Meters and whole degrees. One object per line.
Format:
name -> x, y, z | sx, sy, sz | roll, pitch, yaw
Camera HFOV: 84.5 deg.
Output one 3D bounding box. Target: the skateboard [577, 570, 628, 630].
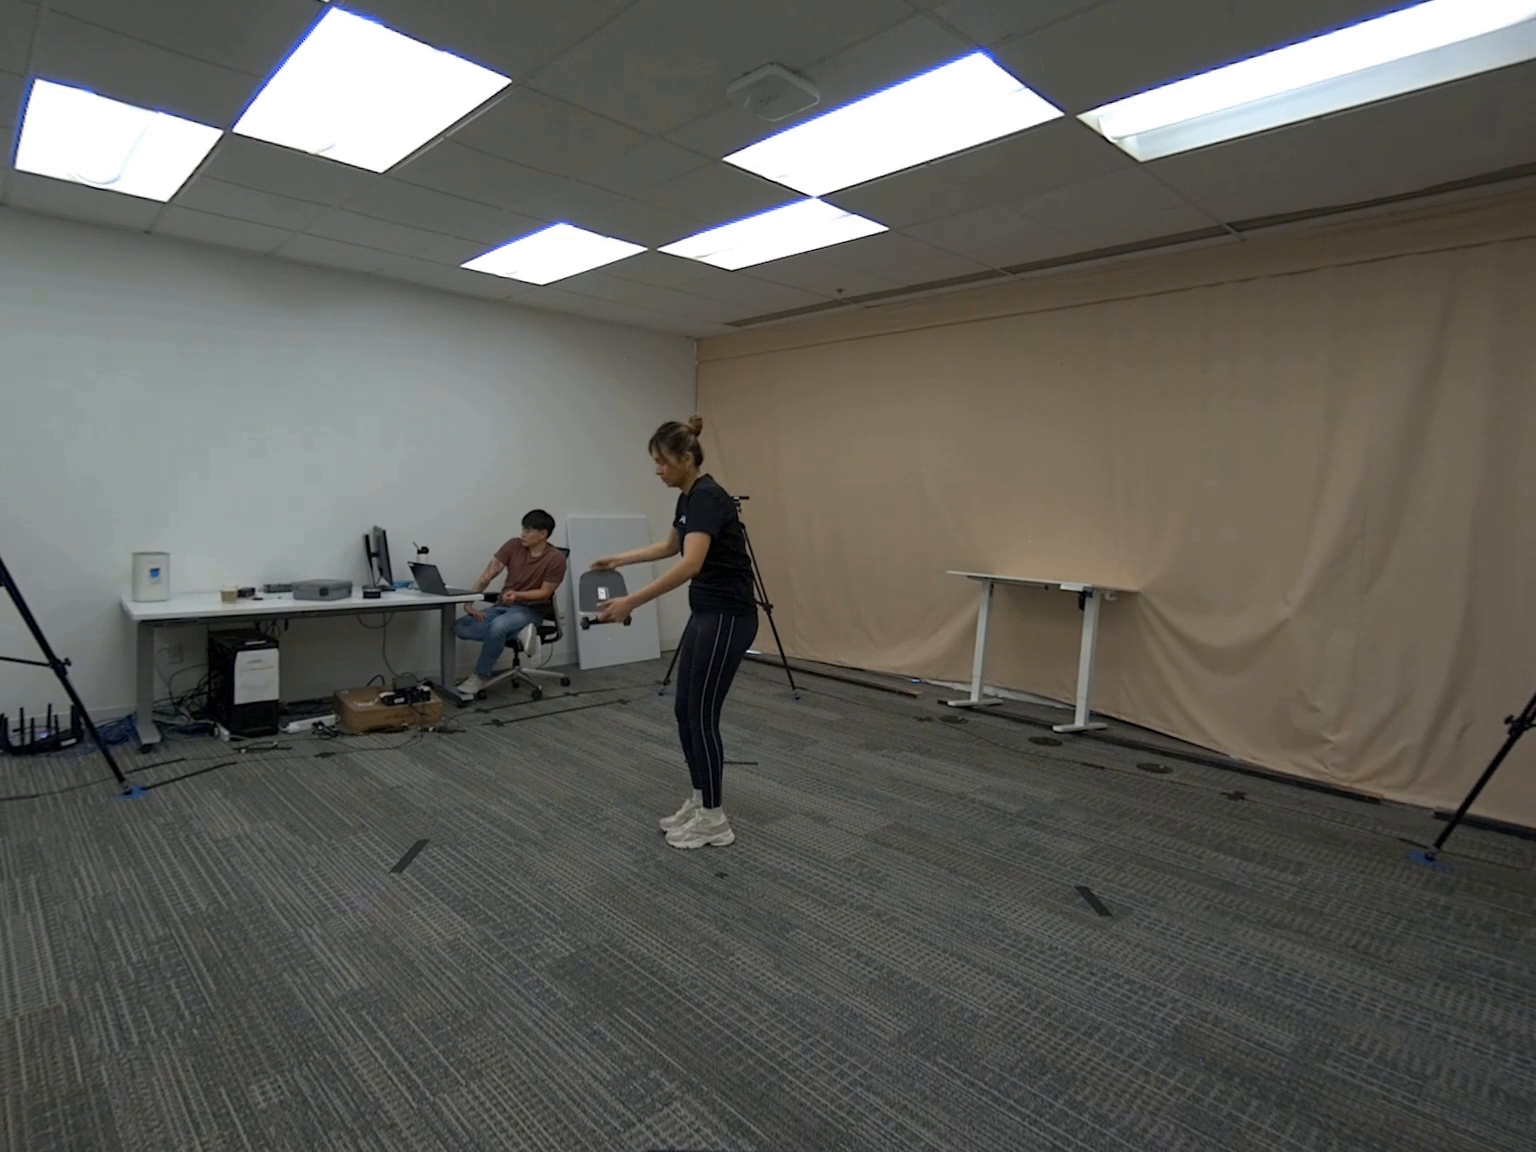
skateboard -> -0.651, 0.107, 3.315 | 0.192, 0.109, 0.798 | -7, 13, -11
